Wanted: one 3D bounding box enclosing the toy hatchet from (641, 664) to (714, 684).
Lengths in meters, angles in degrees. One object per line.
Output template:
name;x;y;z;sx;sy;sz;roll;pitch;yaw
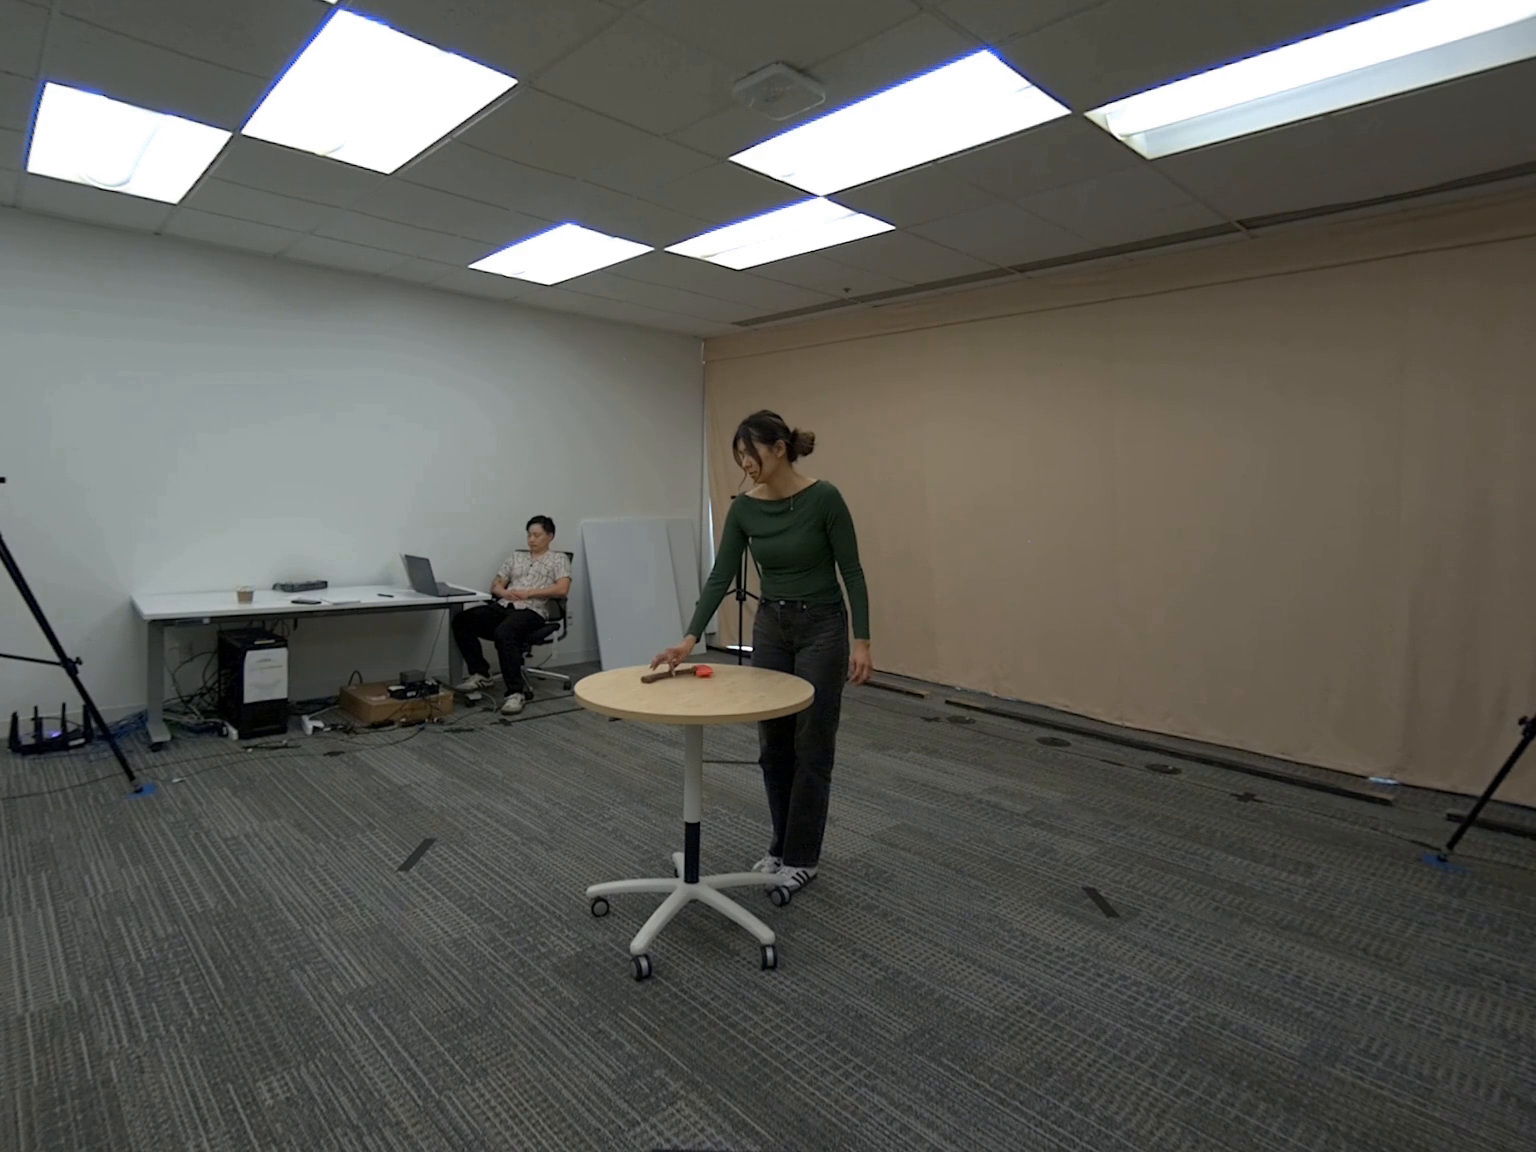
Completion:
toy hatchet;-0.298;0.334;2.801;0.134;0.029;0.264;4;7;36
